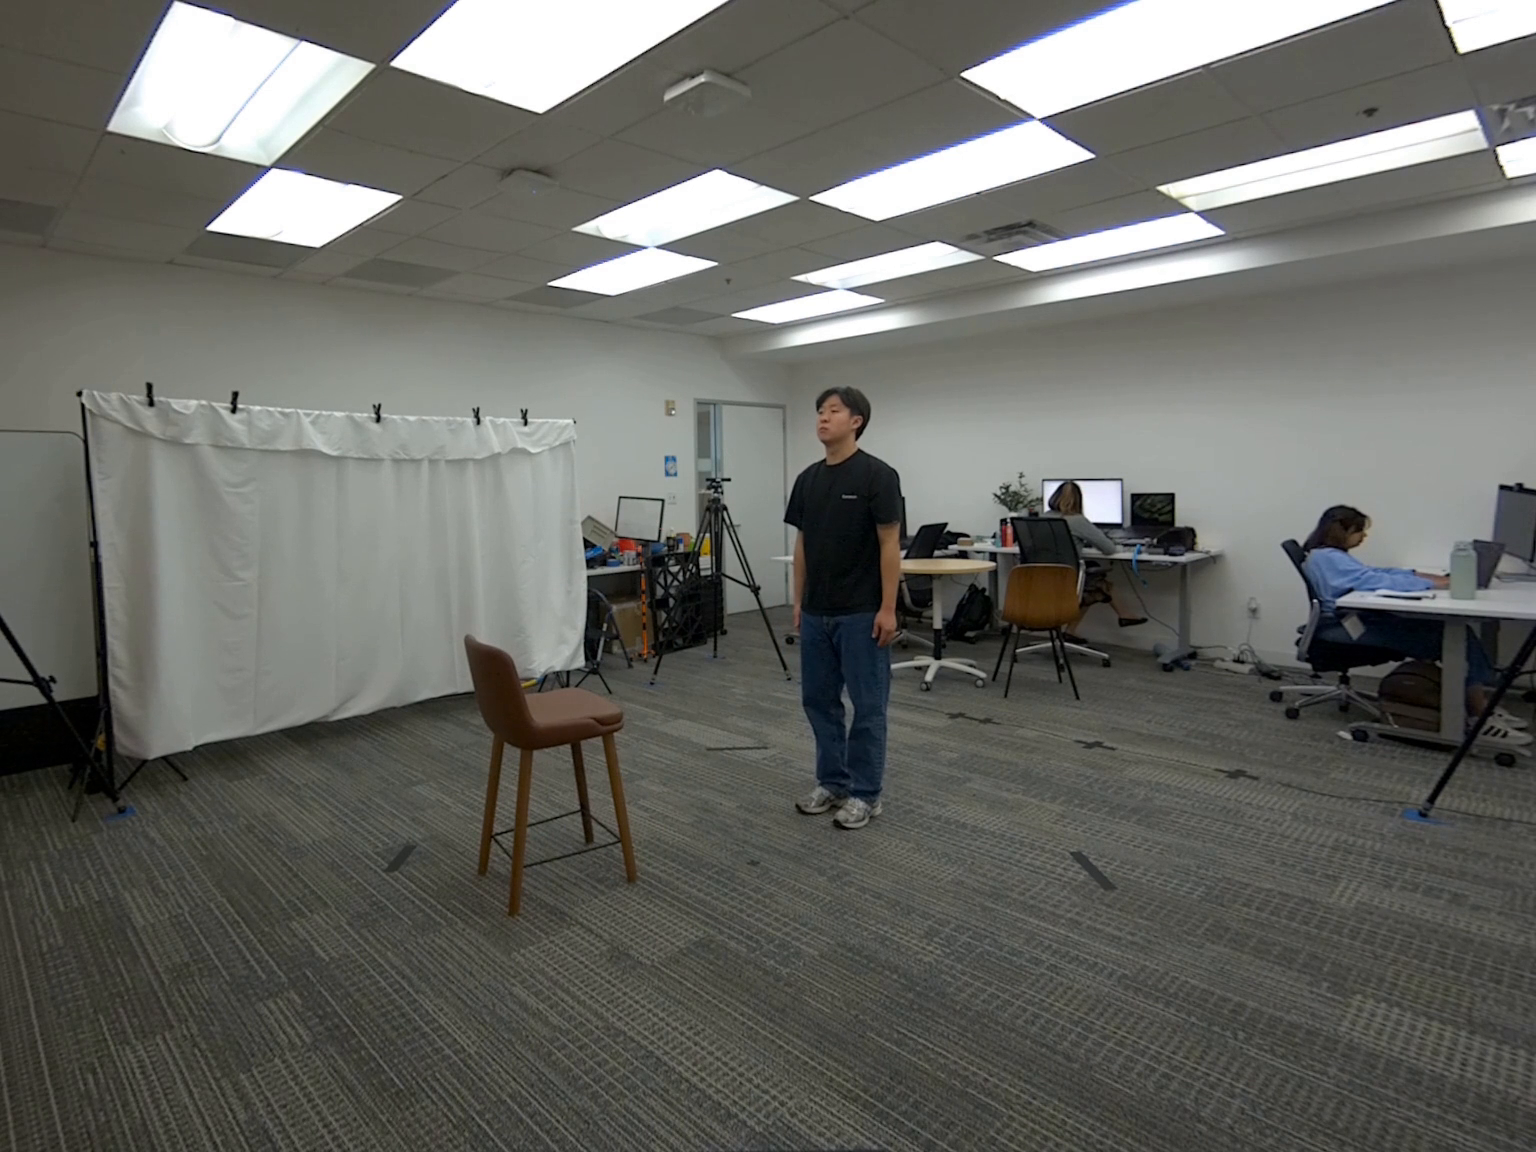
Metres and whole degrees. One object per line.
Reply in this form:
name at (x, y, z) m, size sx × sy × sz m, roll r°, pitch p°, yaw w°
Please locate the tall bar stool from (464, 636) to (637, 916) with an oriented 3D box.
tall bar stool at (-0.763, 0.631, 2.997) m, size 0.456 × 0.885 × 0.470 m, roll -6°, pitch 6°, yaw -34°
